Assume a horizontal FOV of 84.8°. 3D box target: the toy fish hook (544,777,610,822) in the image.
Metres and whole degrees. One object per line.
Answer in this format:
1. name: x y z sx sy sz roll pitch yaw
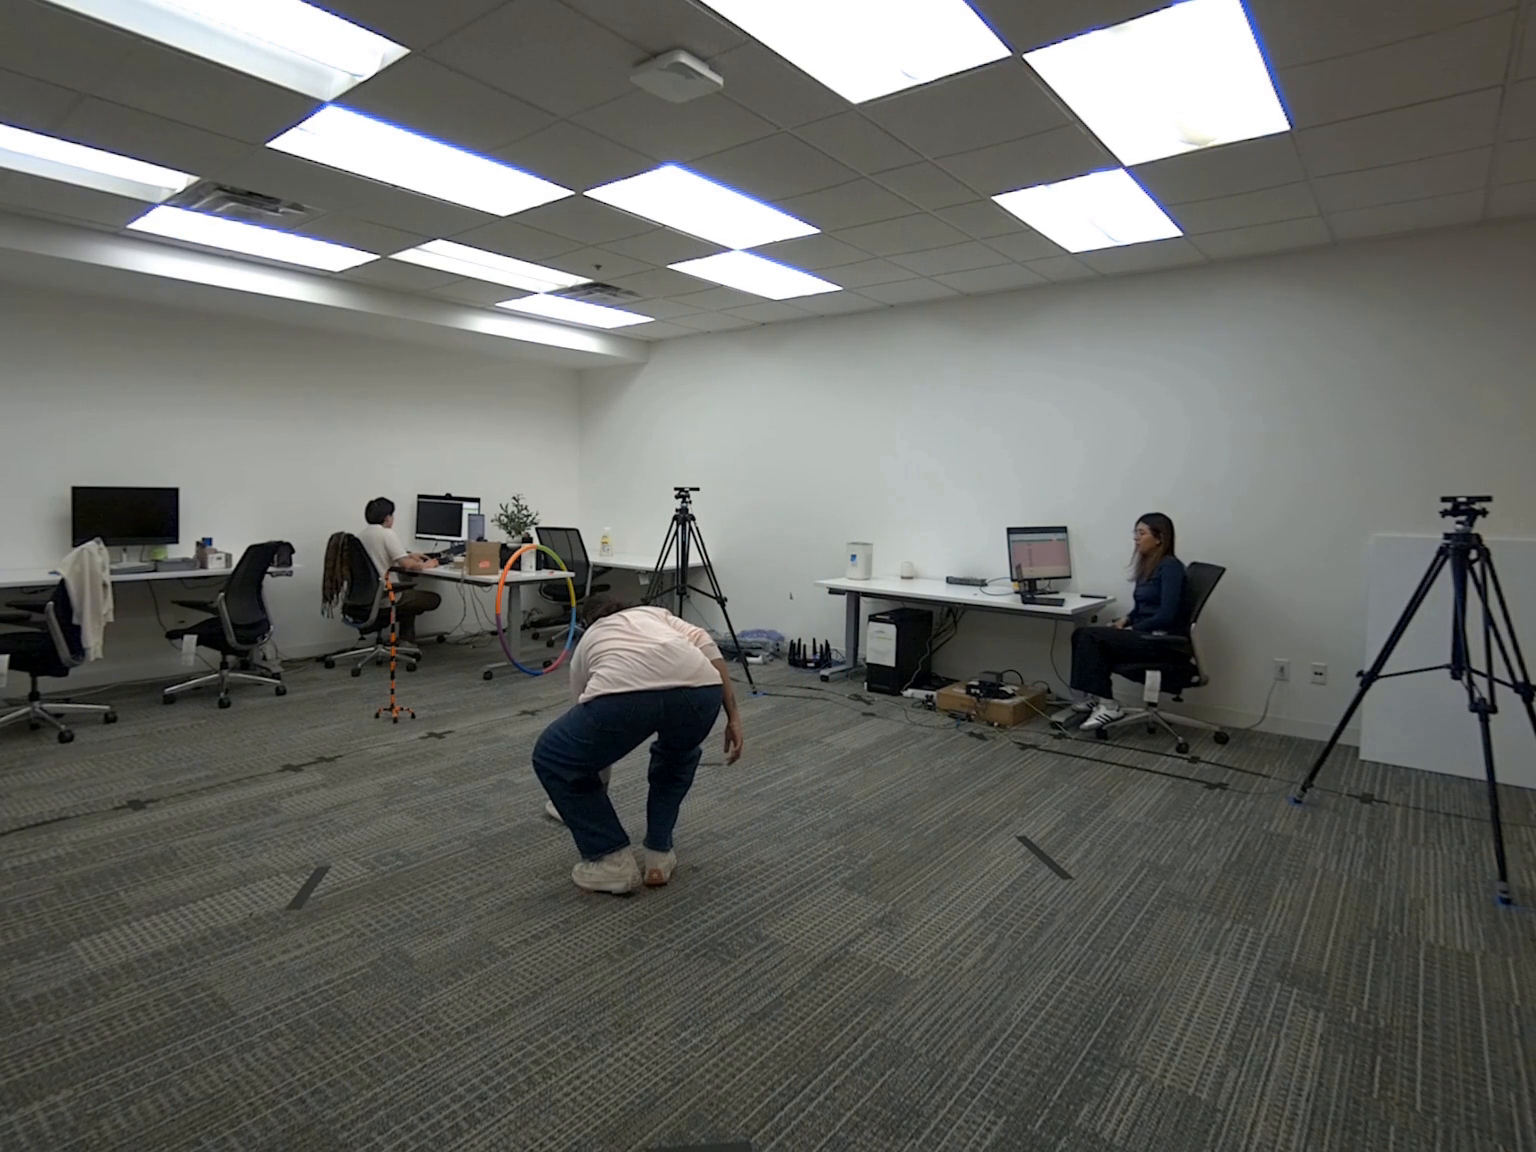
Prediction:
1. toy fish hook: -0.740 0.992 3.498 0.218 0.048 0.524 -2 7 -41
